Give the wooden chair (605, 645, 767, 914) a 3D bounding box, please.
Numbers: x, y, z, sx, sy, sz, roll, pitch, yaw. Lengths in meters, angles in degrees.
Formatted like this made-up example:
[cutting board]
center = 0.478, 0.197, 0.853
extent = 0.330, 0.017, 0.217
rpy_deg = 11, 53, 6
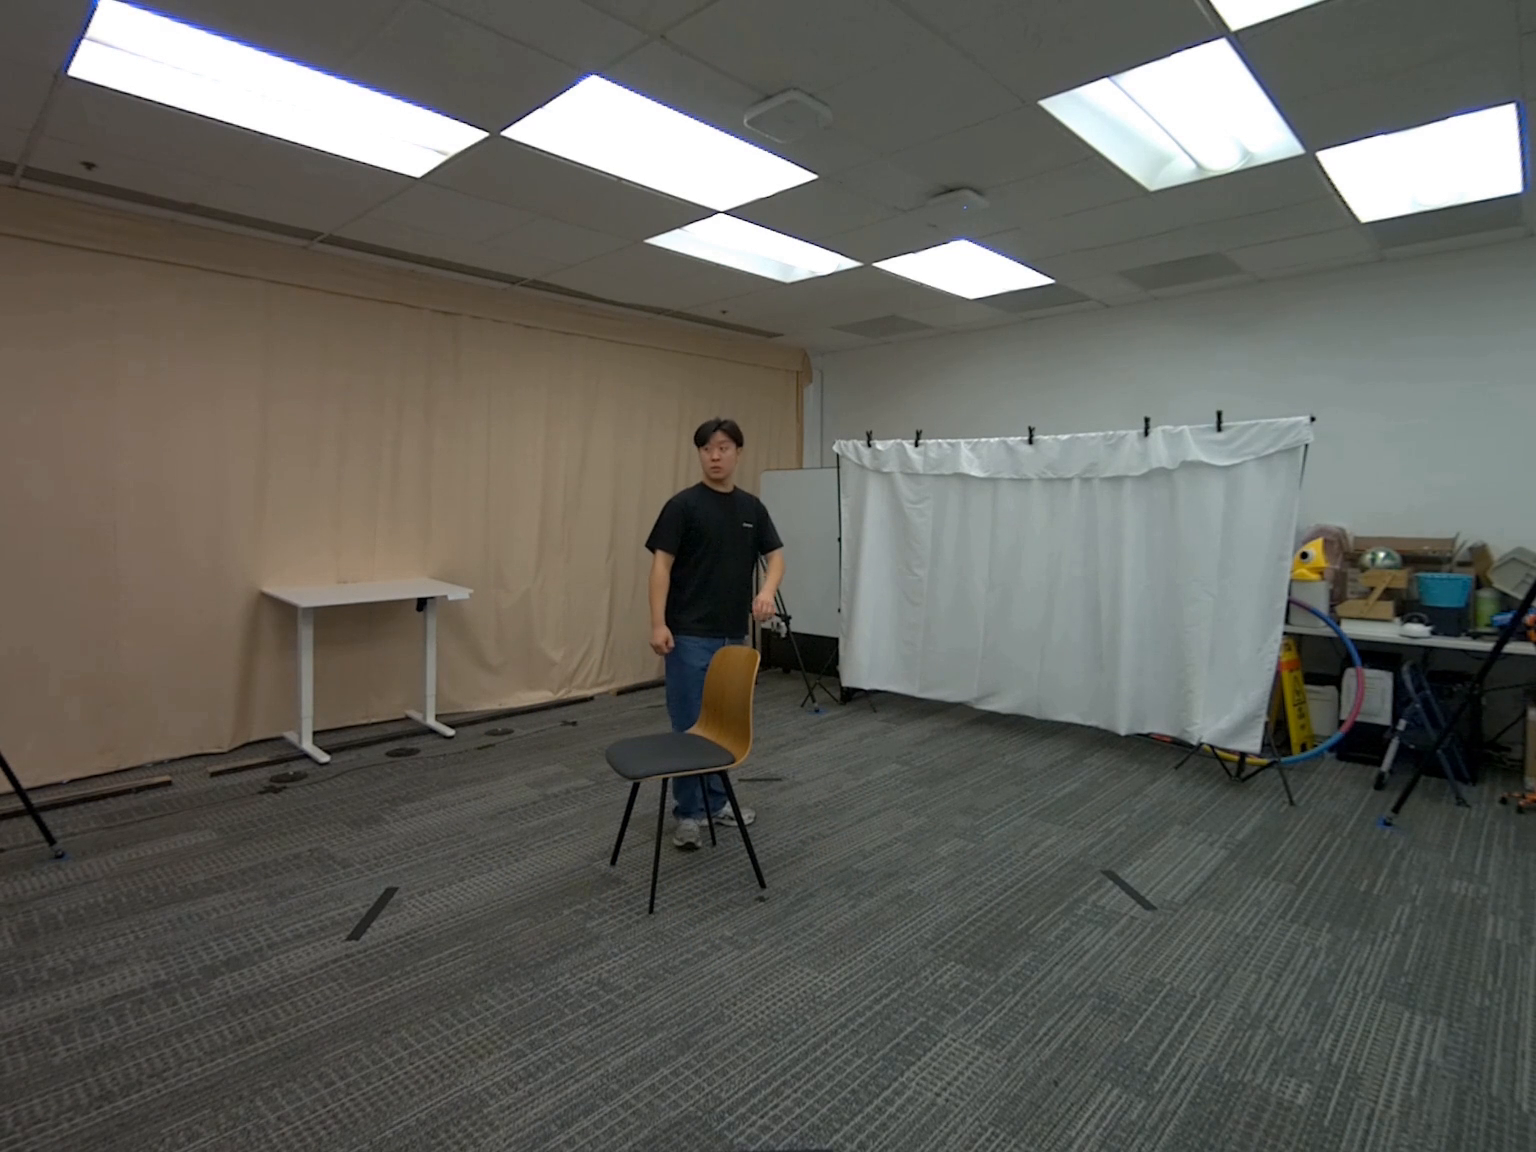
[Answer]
[wooden chair]
center = -0.316, 0.705, 3.132
extent = 0.510, 0.876, 0.491
rpy_deg = 2, 2, -27
